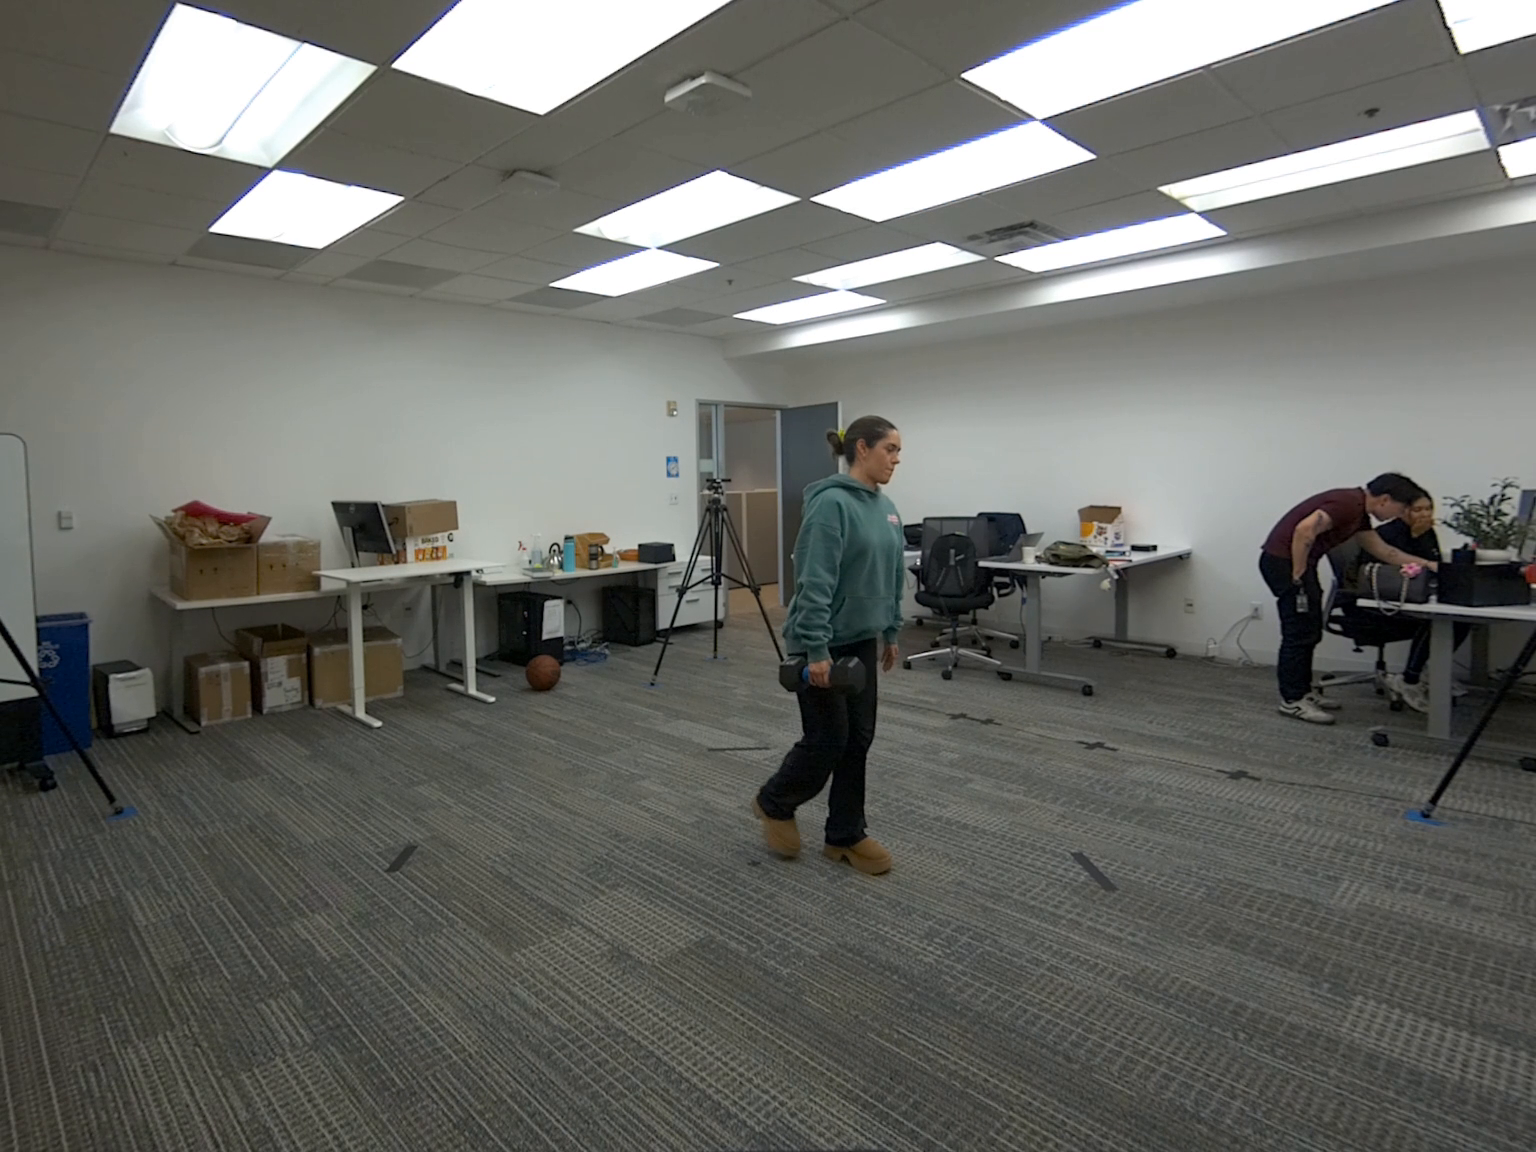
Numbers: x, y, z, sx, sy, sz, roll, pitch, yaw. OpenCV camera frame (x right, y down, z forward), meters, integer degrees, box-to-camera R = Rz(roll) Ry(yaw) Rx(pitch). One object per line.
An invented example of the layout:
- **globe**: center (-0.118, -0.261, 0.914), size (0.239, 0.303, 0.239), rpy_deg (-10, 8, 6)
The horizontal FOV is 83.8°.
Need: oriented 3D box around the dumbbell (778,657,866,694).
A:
- **dumbbell**: center (0.179, 0.340, 2.853), size (0.301, 0.110, 0.118), rpy_deg (-5, -40, 40)
